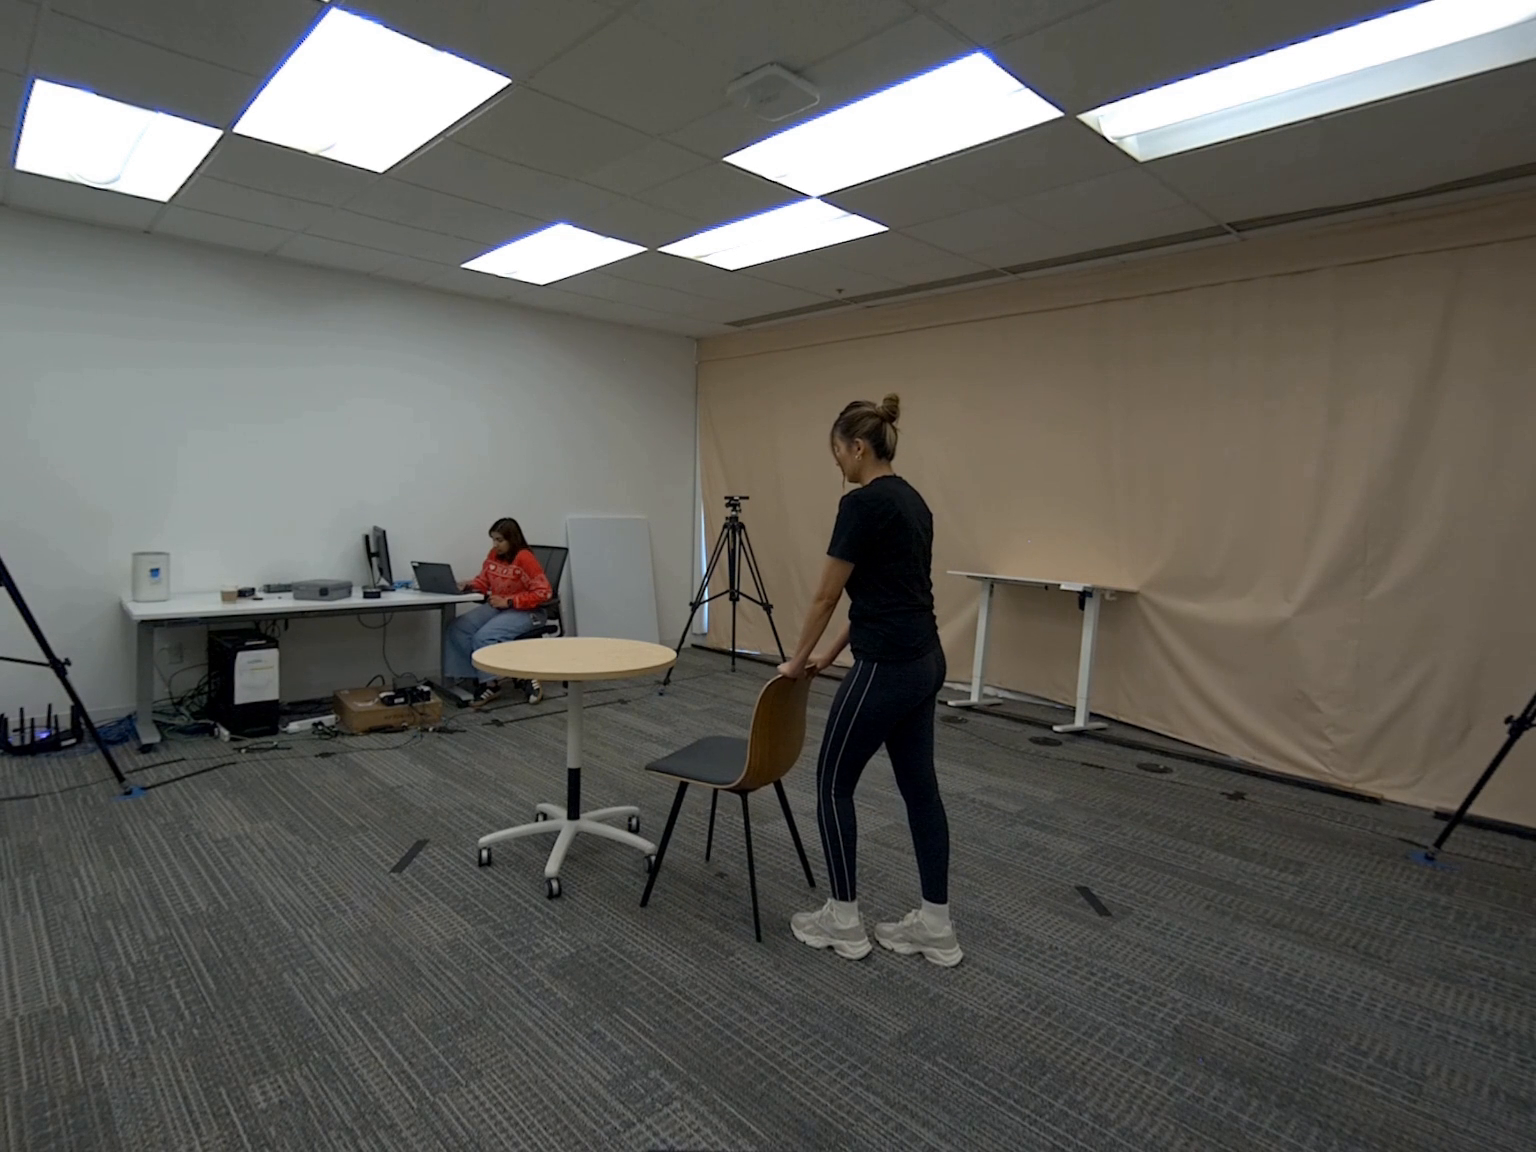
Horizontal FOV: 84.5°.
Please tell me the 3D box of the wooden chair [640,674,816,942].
[{"bbox_3d":[-0.133,0.693,2.906,0.535,0.874,0.469,8,7,28],"label":"wooden chair"}]
